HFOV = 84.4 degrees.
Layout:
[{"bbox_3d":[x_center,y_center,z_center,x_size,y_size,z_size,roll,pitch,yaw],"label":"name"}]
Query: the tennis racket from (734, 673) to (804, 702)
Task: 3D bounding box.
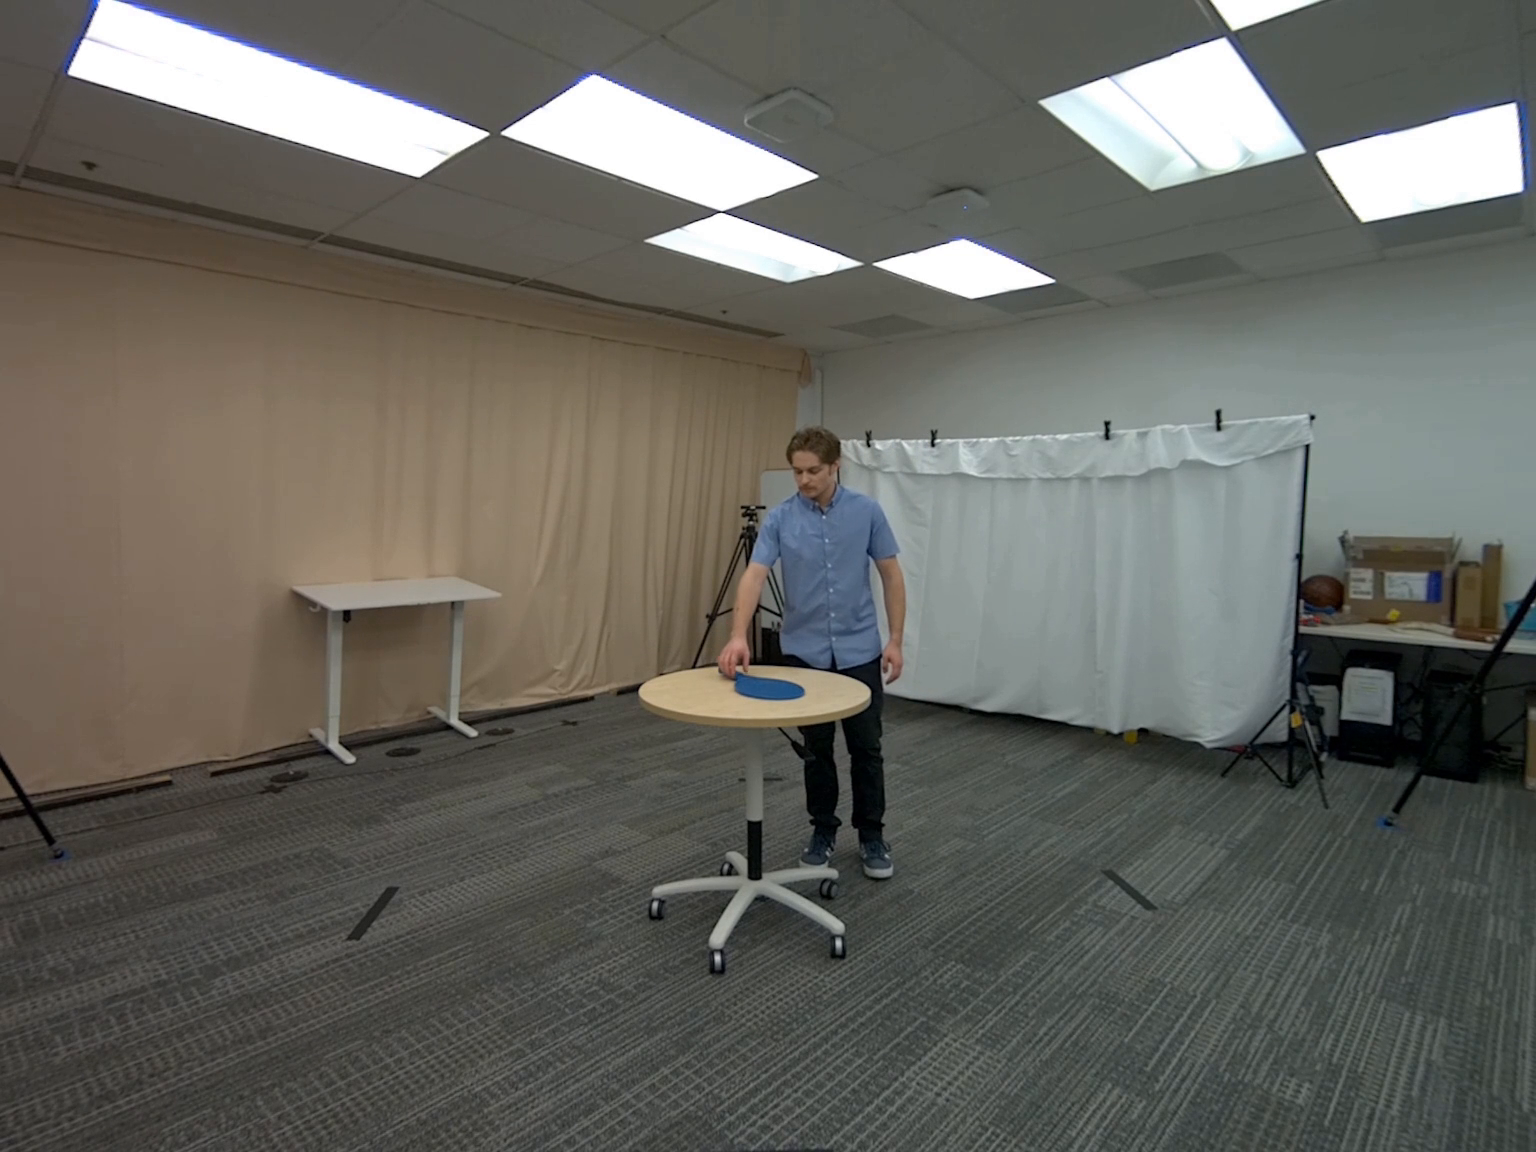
[{"bbox_3d":[-0.034,0.361,2.832,0.208,0.031,0.447,-4,8,-33],"label":"tennis racket"}]
